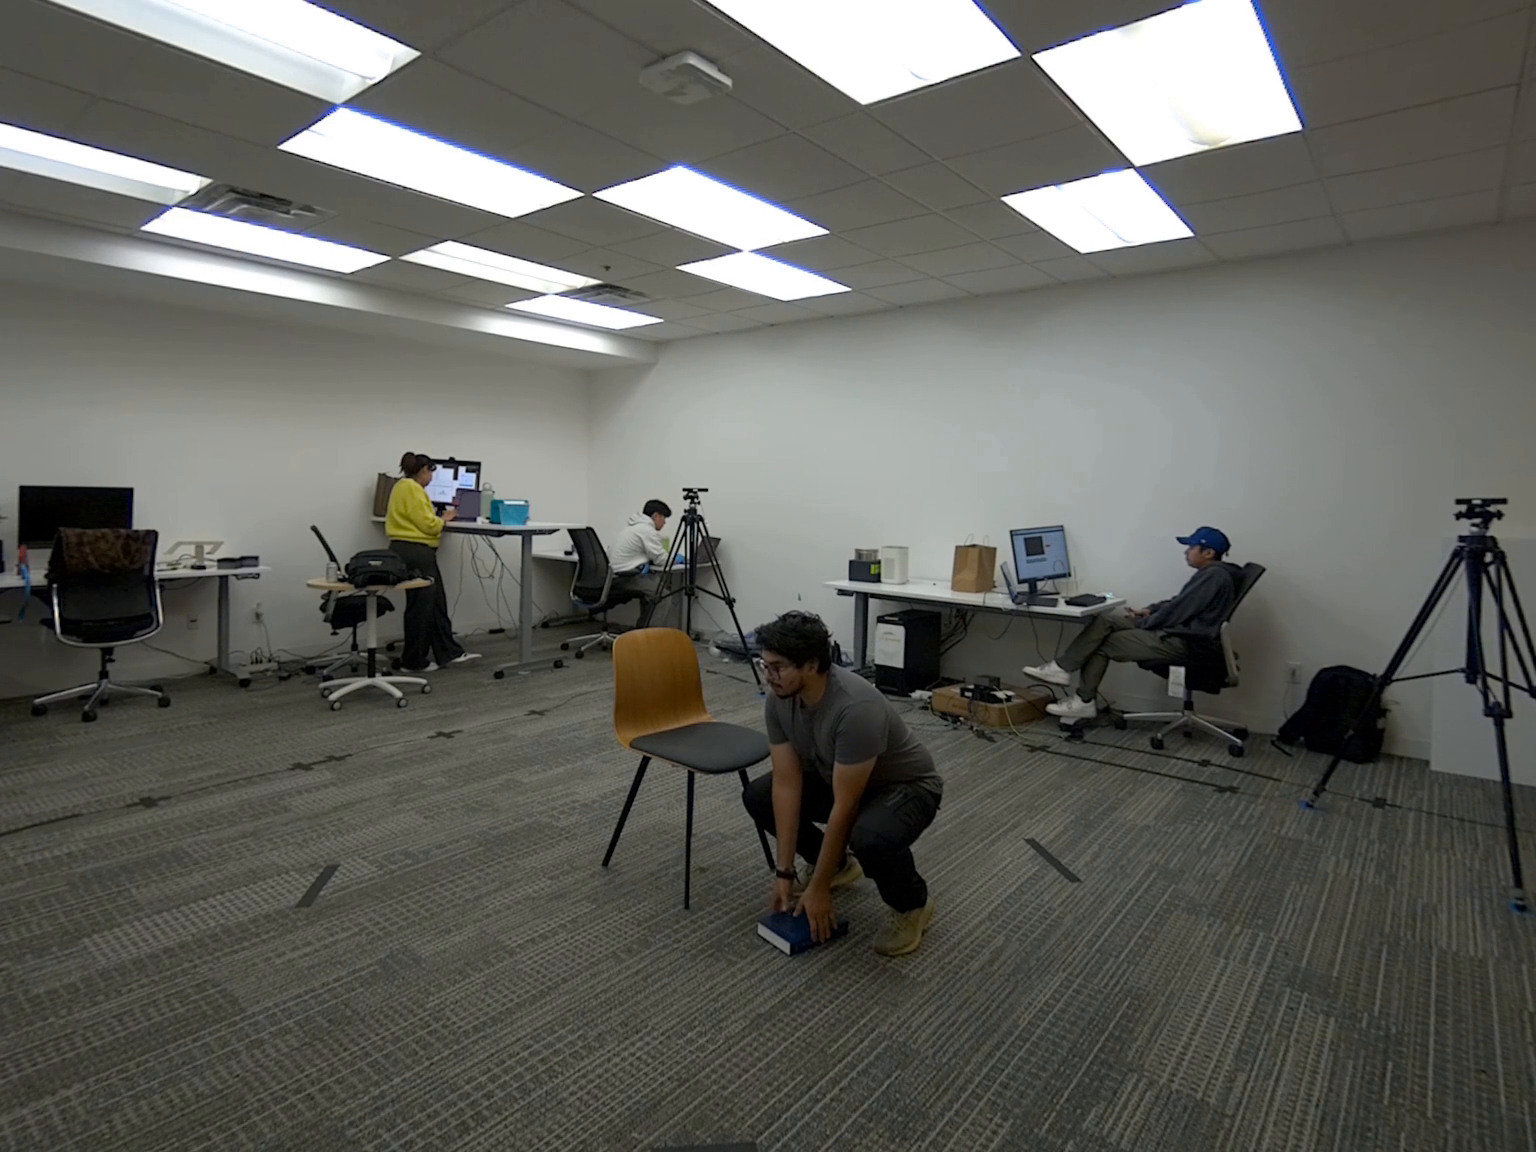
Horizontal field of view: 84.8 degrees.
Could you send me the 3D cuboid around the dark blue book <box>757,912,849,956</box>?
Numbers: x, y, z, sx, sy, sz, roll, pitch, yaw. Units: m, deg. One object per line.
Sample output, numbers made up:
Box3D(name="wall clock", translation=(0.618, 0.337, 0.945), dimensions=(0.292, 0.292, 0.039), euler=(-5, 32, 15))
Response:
Box3D(name="dark blue book", translation=(0.106, 1.092, 2.669), dimensions=(0.238, 0.045, 0.169), euler=(-4, 7, -39))
